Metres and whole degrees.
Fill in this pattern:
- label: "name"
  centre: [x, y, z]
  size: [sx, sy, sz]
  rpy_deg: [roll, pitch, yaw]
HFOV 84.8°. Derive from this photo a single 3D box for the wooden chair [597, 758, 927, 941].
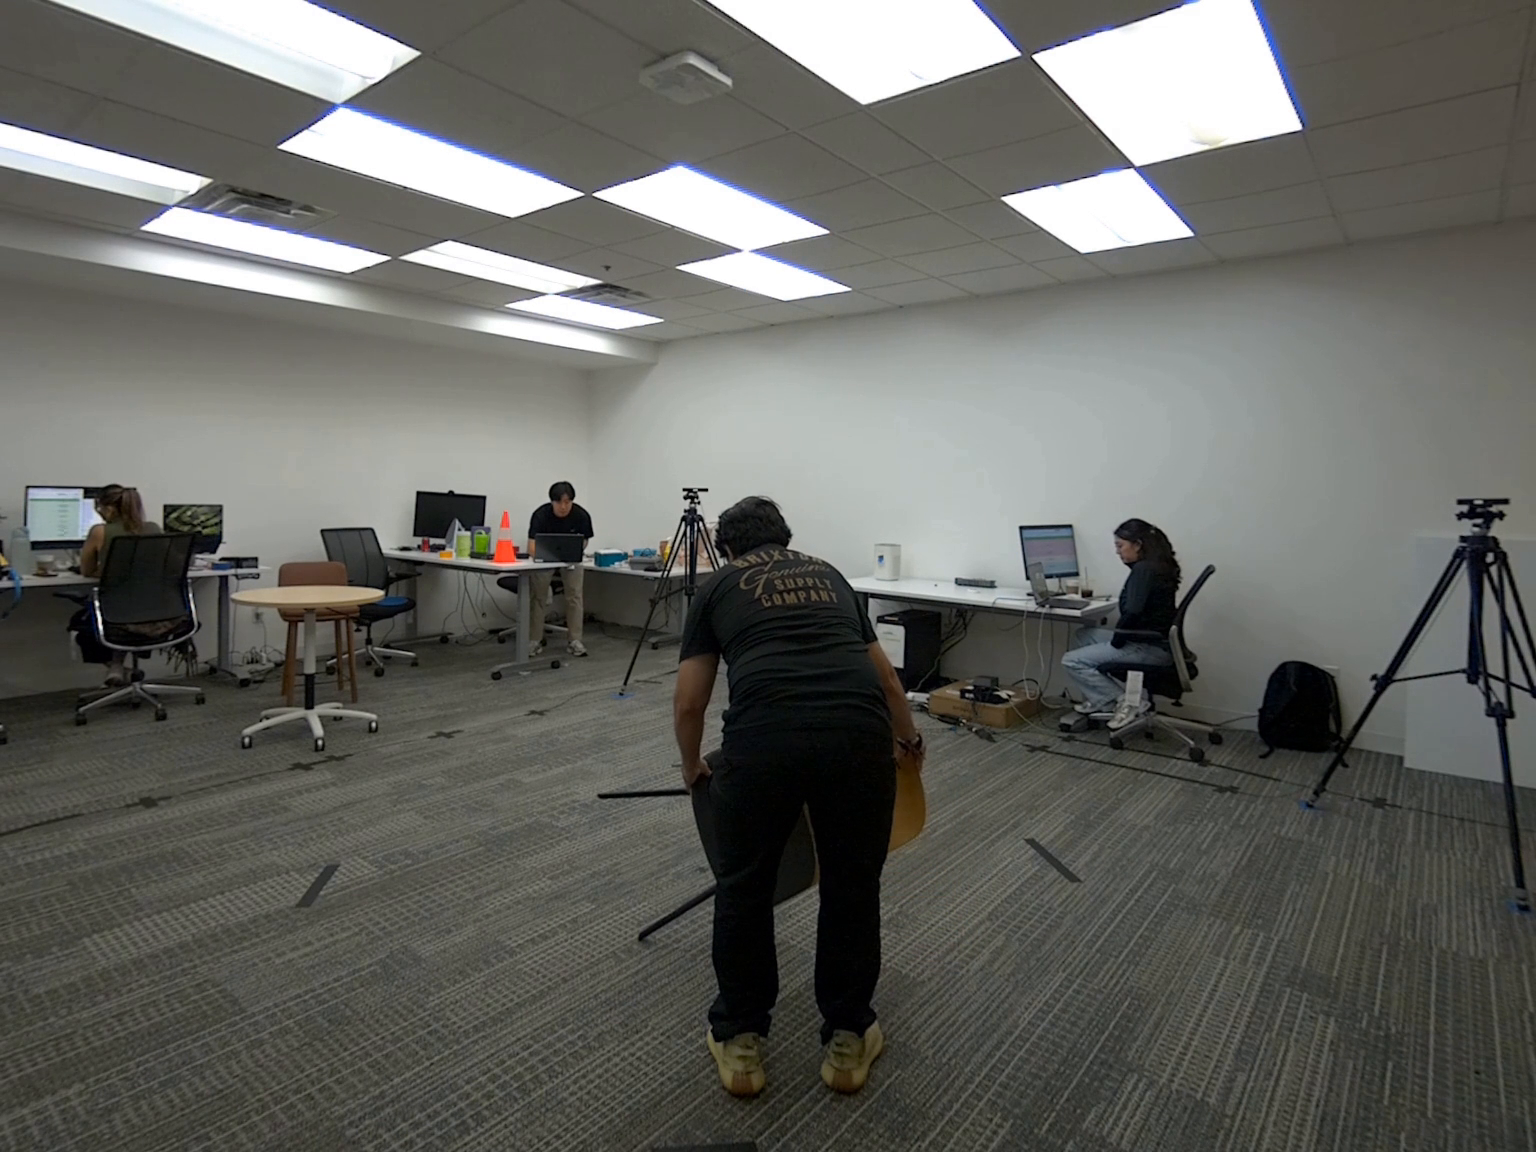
- label: "wooden chair"
  centre: [-0.038, 0.731, 2.569]
  size: [0.889, 0.486, 0.507]
  rpy_deg: [-27, -15, 33]
